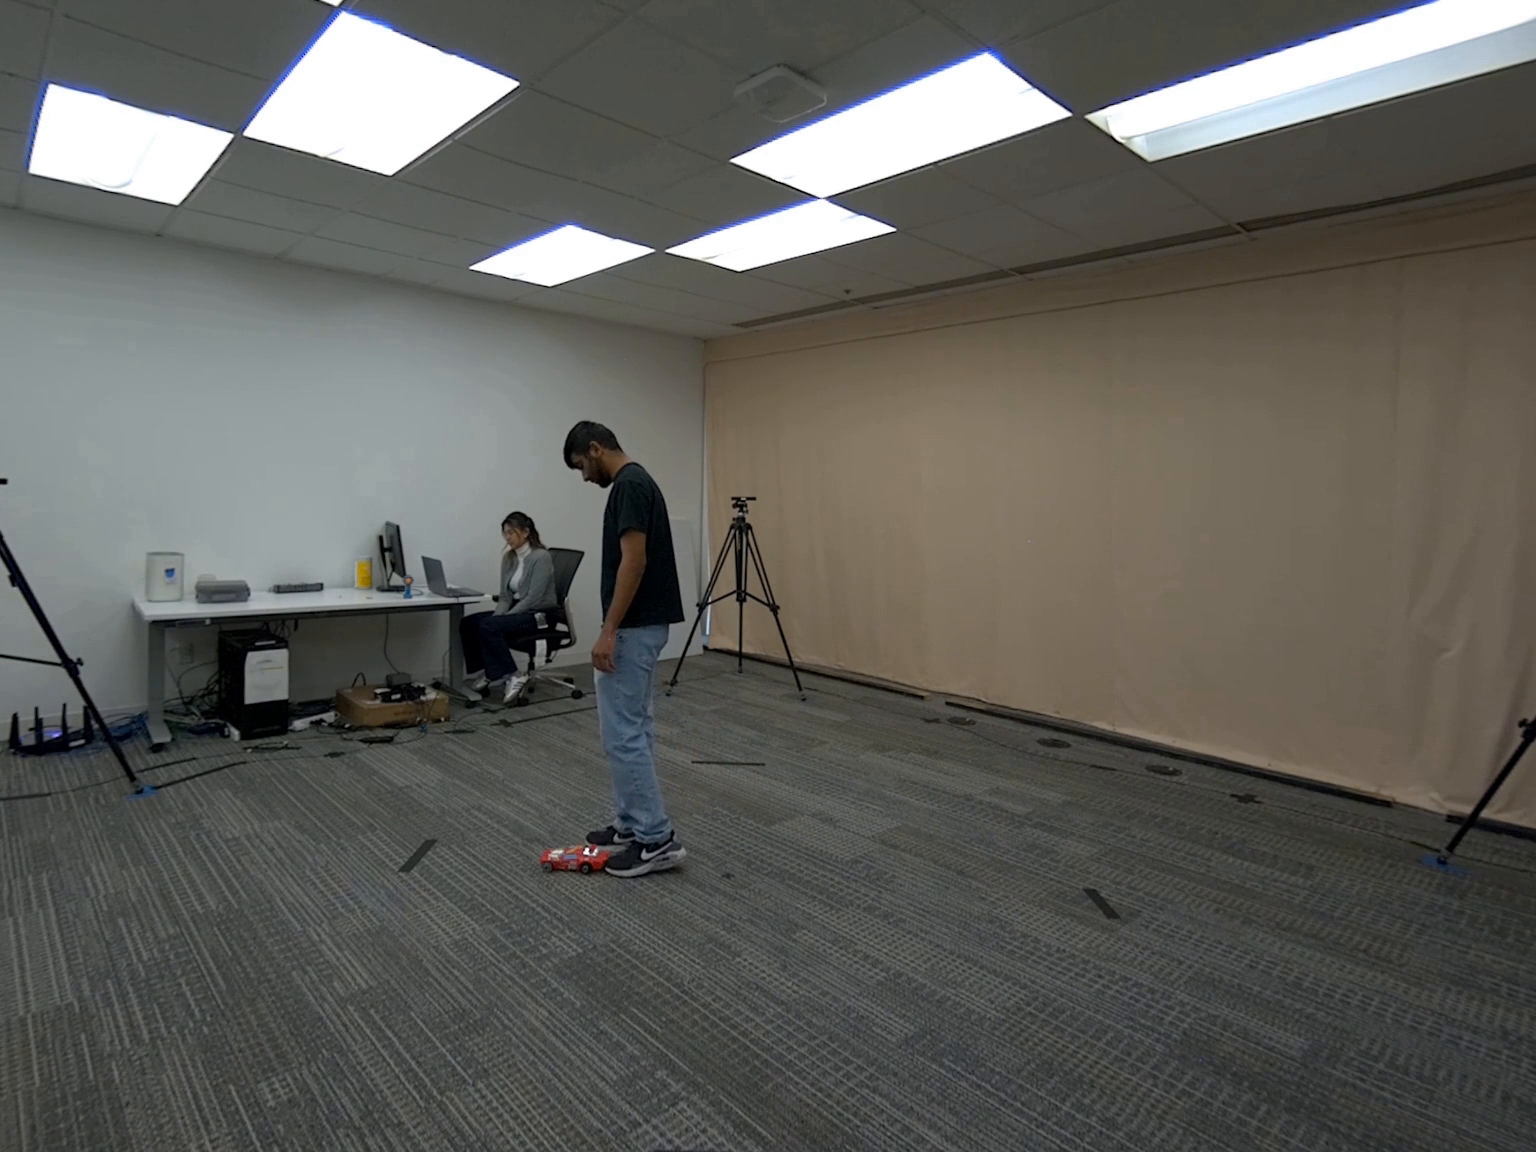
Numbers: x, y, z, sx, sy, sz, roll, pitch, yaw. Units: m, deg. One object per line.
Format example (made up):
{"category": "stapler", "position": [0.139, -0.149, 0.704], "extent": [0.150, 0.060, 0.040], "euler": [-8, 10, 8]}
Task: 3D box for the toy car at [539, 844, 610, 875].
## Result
{"category": "toy car", "position": [-0.720, 1.051, 3.144], "extent": [0.256, 0.083, 0.130], "euler": [-10, 3, 6]}
